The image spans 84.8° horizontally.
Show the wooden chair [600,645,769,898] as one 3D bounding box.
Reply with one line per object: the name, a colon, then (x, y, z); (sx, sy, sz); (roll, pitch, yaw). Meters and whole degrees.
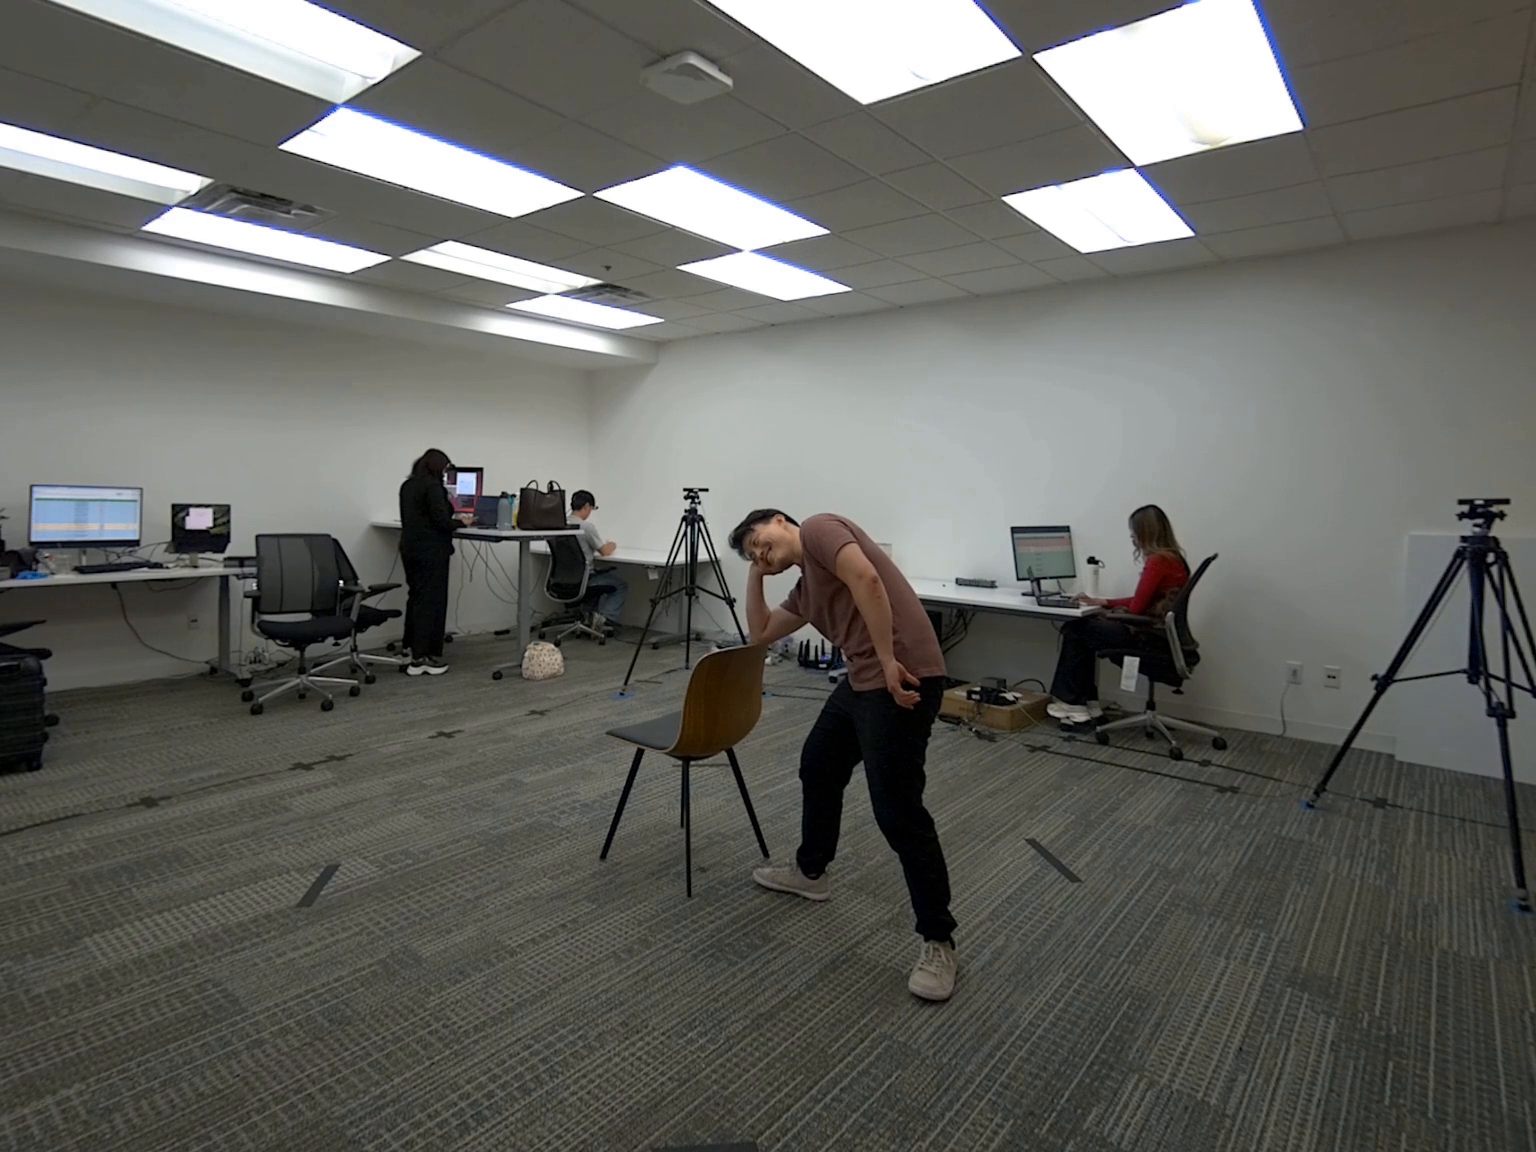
wooden chair: (-0.318, 0.633, 3.177); (0.542, 0.873, 0.464); (10, 8, 38)
